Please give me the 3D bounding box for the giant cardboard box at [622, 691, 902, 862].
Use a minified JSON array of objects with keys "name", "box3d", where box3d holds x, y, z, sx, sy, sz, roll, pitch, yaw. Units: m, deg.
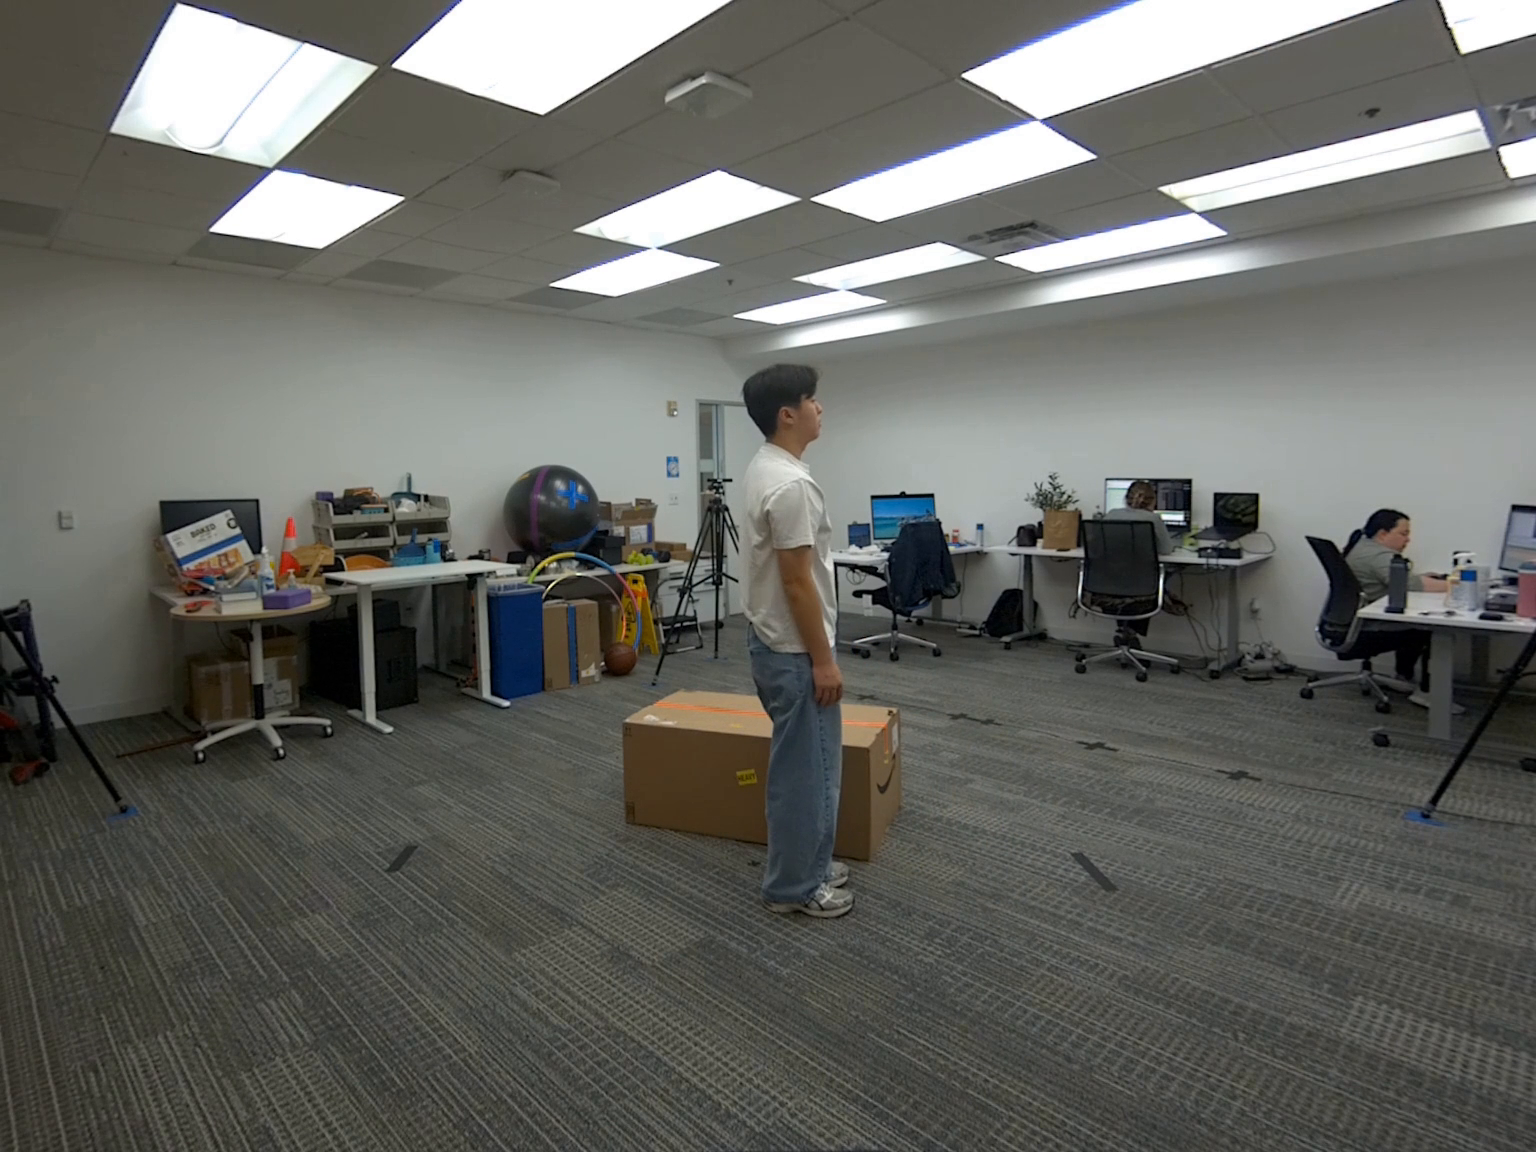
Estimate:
[{"name":"giant cardboard box","box3d":[-0.014,0.779,3.547,1.047,0.424,0.568,1,7,22]}]
